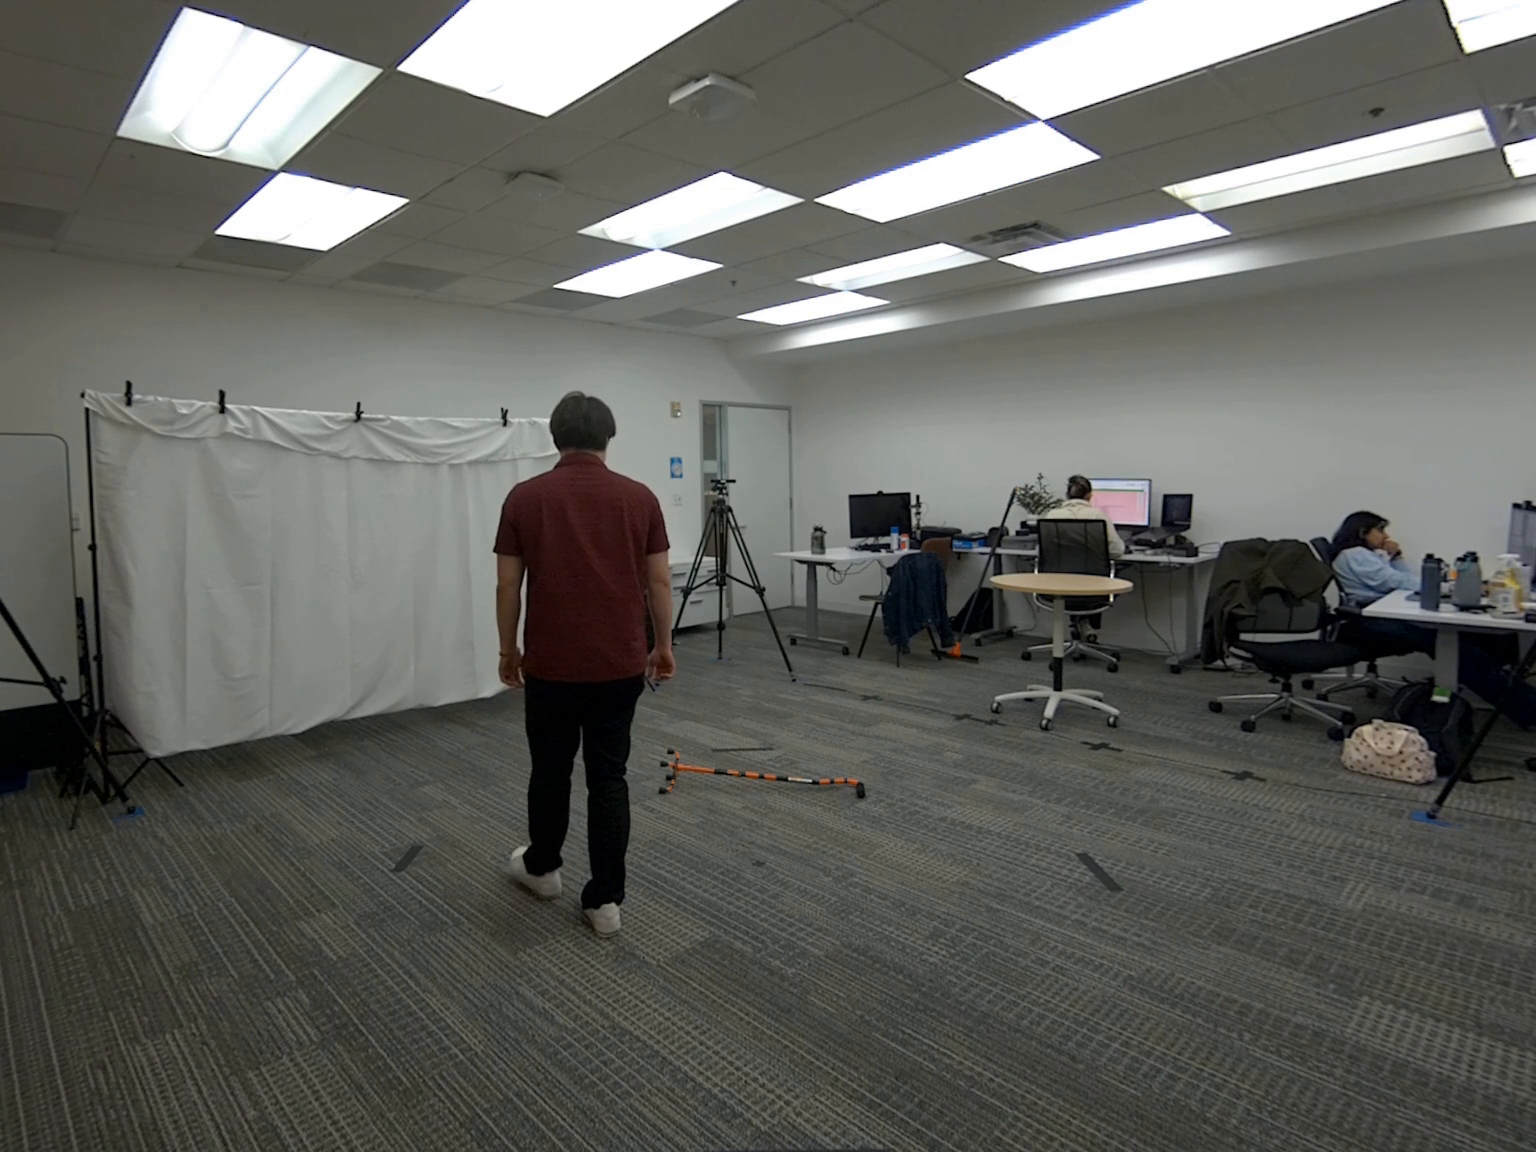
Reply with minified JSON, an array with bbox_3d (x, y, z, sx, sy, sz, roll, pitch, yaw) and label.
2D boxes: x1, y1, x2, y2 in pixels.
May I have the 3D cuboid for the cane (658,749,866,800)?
[{"bbox_3d":[-0.025,0.917,3.868,0.914,0.151,0.206,4,6,6],"label":"cane"}]
